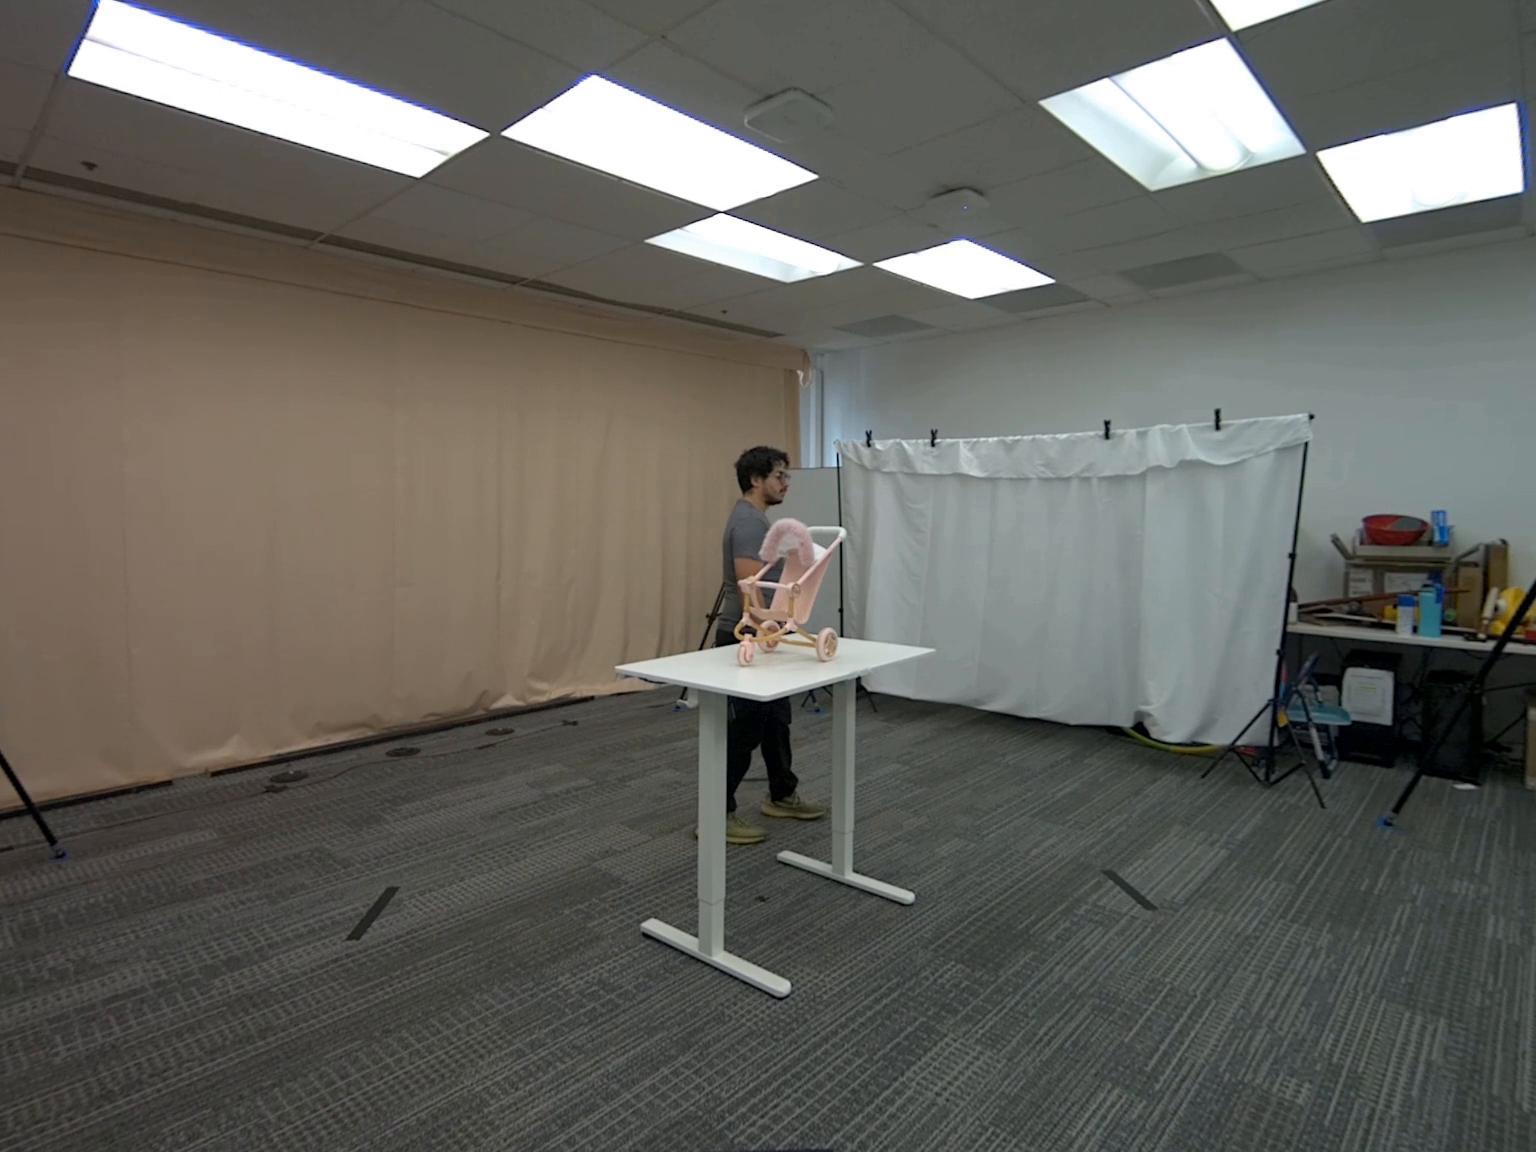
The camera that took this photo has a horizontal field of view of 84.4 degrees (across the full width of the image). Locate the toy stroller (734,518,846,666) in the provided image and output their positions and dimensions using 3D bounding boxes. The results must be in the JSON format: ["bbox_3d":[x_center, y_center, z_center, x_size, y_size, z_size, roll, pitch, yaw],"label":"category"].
[{"bbox_3d":[0.060,0.053,2.784,0.291,0.537,0.329,3,-11,45],"label":"toy stroller"}]
